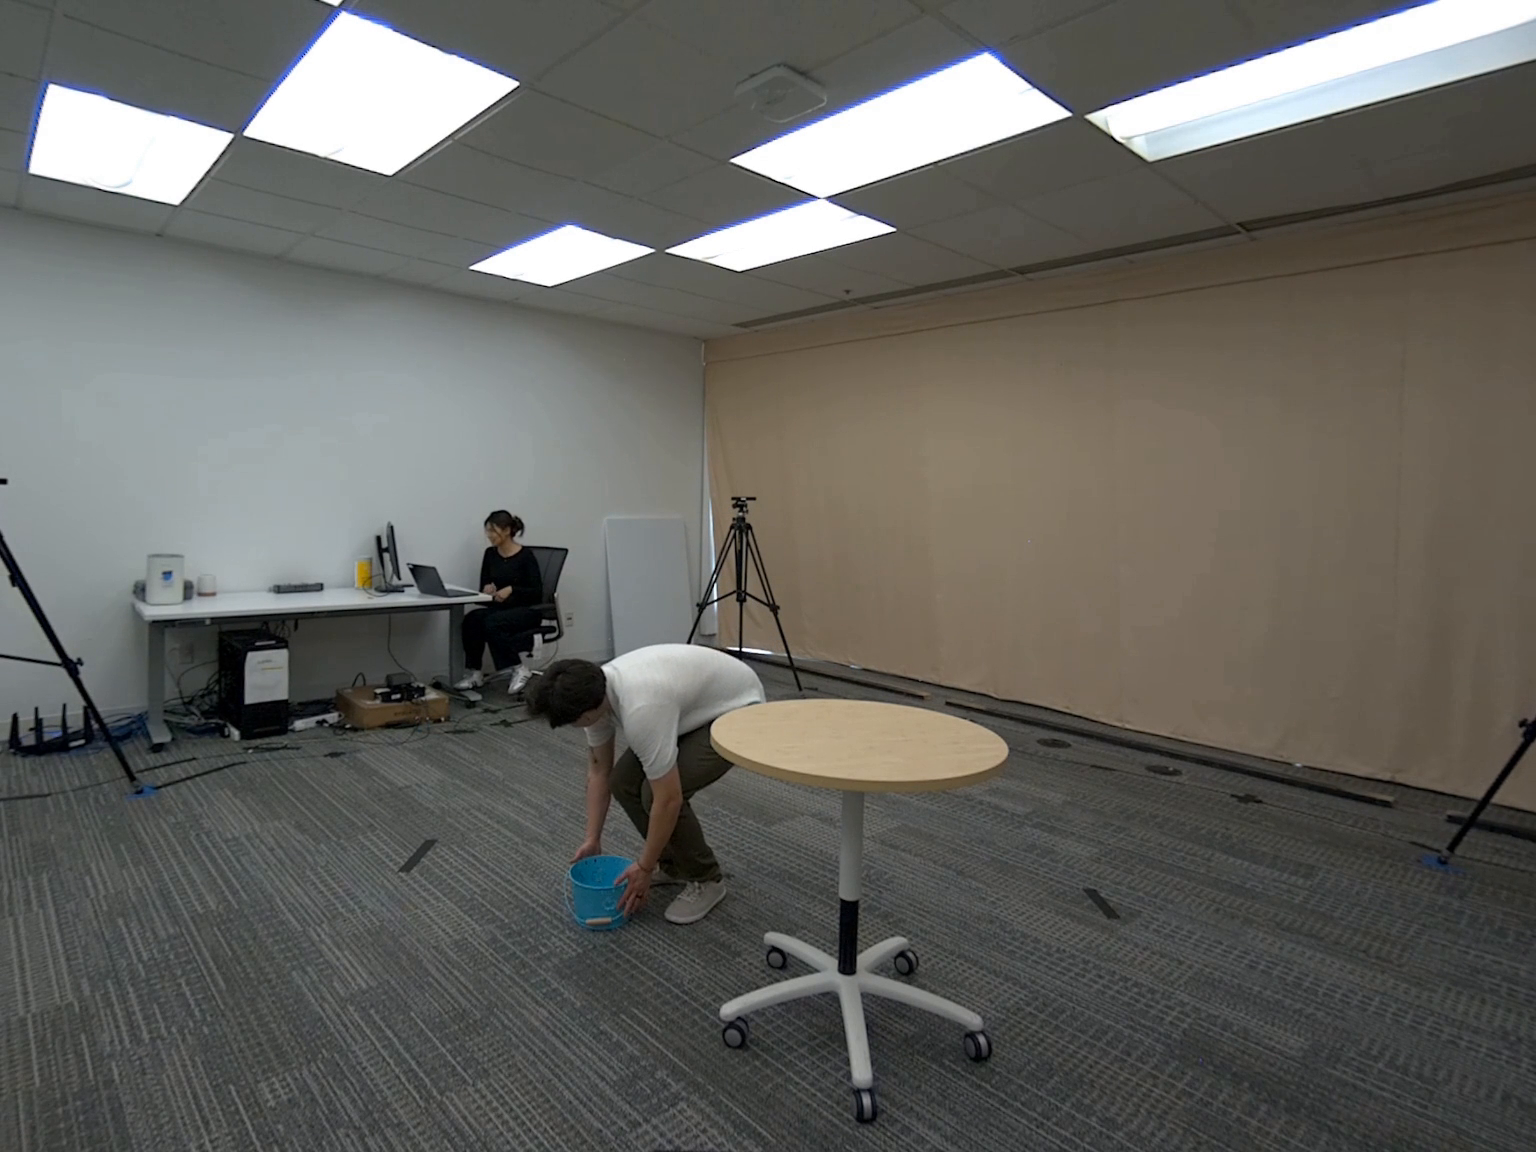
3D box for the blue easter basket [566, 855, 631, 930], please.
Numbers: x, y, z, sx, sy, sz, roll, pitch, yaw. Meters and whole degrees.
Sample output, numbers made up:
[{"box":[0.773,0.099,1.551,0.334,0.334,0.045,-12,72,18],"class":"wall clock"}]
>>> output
[{"box":[-0.546,1.039,2.777,0.243,0.155,0.245,1,6,-1],"class":"blue easter basket"}]
